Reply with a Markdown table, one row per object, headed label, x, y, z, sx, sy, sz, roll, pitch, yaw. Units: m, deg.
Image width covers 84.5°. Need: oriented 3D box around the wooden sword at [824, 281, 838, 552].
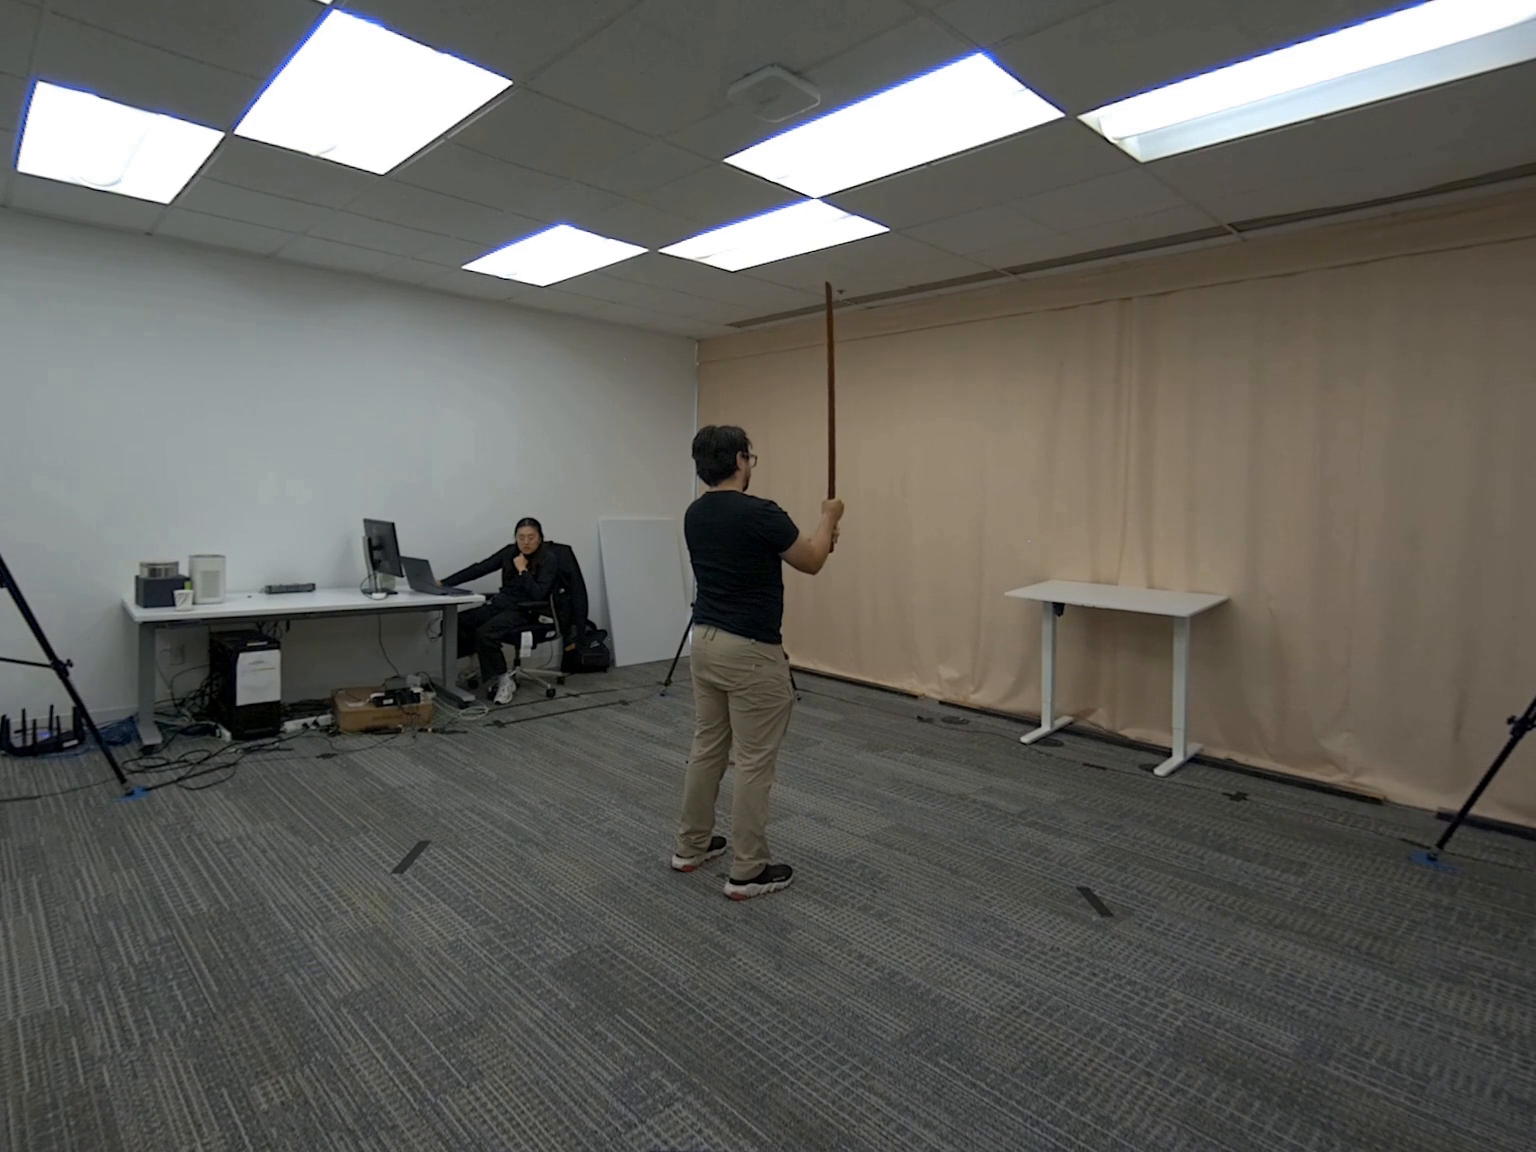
| label | x | y | z | sx | sy | sz | roll | pitch | yaw |
| --- | --- | --- | --- | --- | --- | --- | --- | --- | --- |
| wooden sword | 0.233 | -0.549 | 3.117 | 0.024 | 1.008 | 0.051 | 2 | 23 | 12 |
